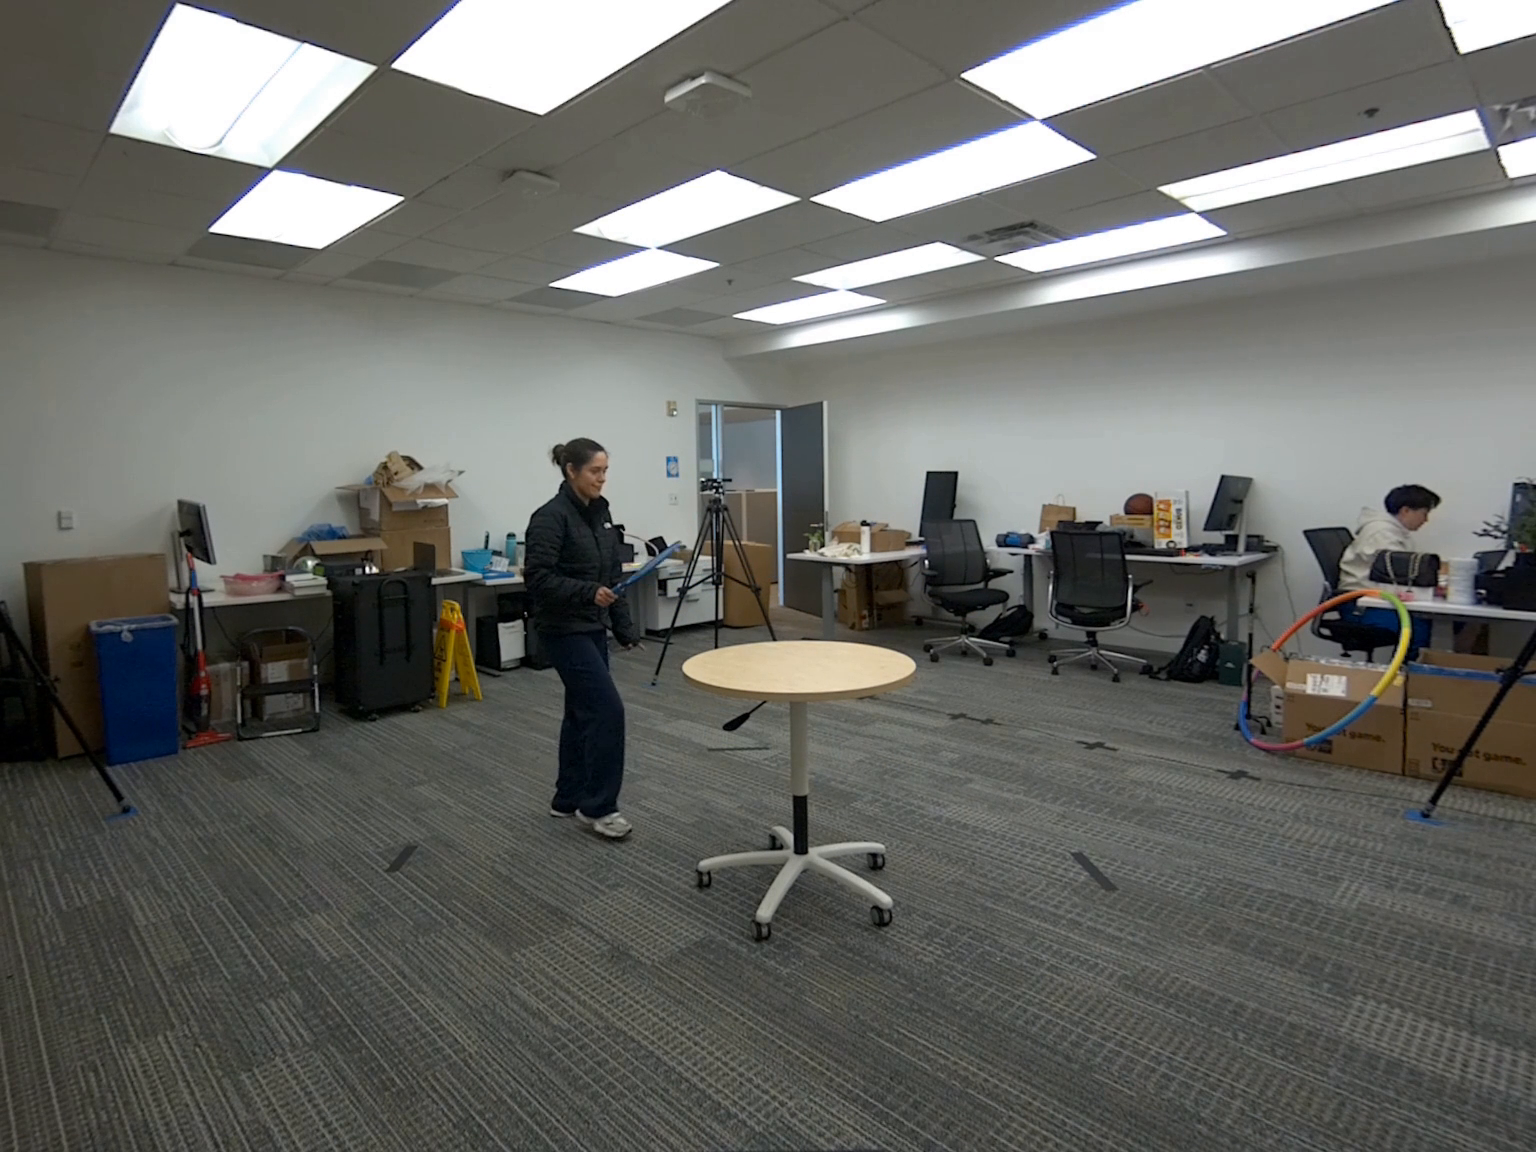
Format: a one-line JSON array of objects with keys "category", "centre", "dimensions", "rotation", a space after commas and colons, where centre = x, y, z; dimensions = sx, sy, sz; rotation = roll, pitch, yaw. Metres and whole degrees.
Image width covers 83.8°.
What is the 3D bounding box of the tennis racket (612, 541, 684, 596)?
[{"category": "tennis racket", "centre": [-0.480, -0.013, 3.194], "dimensions": [0.436, 0.031, 0.214], "rotation": [-34, 11, 35]}]
